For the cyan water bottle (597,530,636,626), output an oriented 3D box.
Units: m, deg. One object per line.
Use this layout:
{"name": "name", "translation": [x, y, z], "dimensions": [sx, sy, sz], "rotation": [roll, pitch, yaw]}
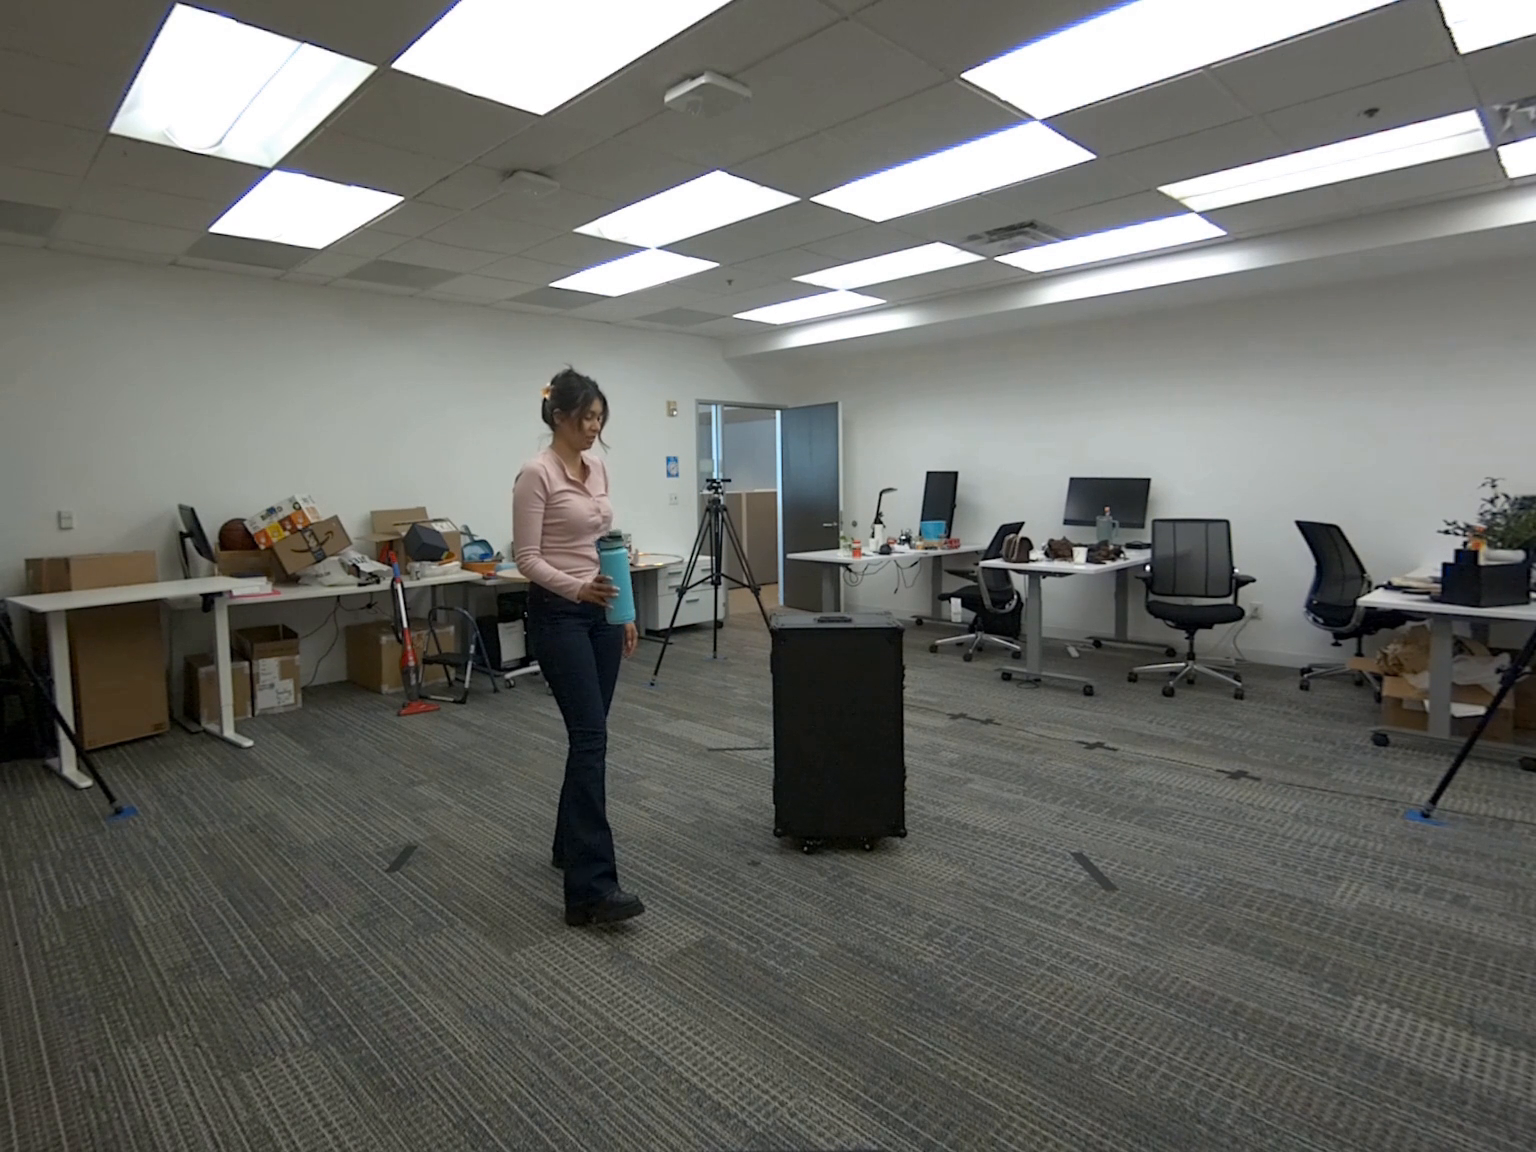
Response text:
{"name": "cyan water bottle", "translation": [-0.469, 0.000, 2.618], "dimensions": [0.092, 0.281, 0.093], "rotation": [-7, 8, -1]}
